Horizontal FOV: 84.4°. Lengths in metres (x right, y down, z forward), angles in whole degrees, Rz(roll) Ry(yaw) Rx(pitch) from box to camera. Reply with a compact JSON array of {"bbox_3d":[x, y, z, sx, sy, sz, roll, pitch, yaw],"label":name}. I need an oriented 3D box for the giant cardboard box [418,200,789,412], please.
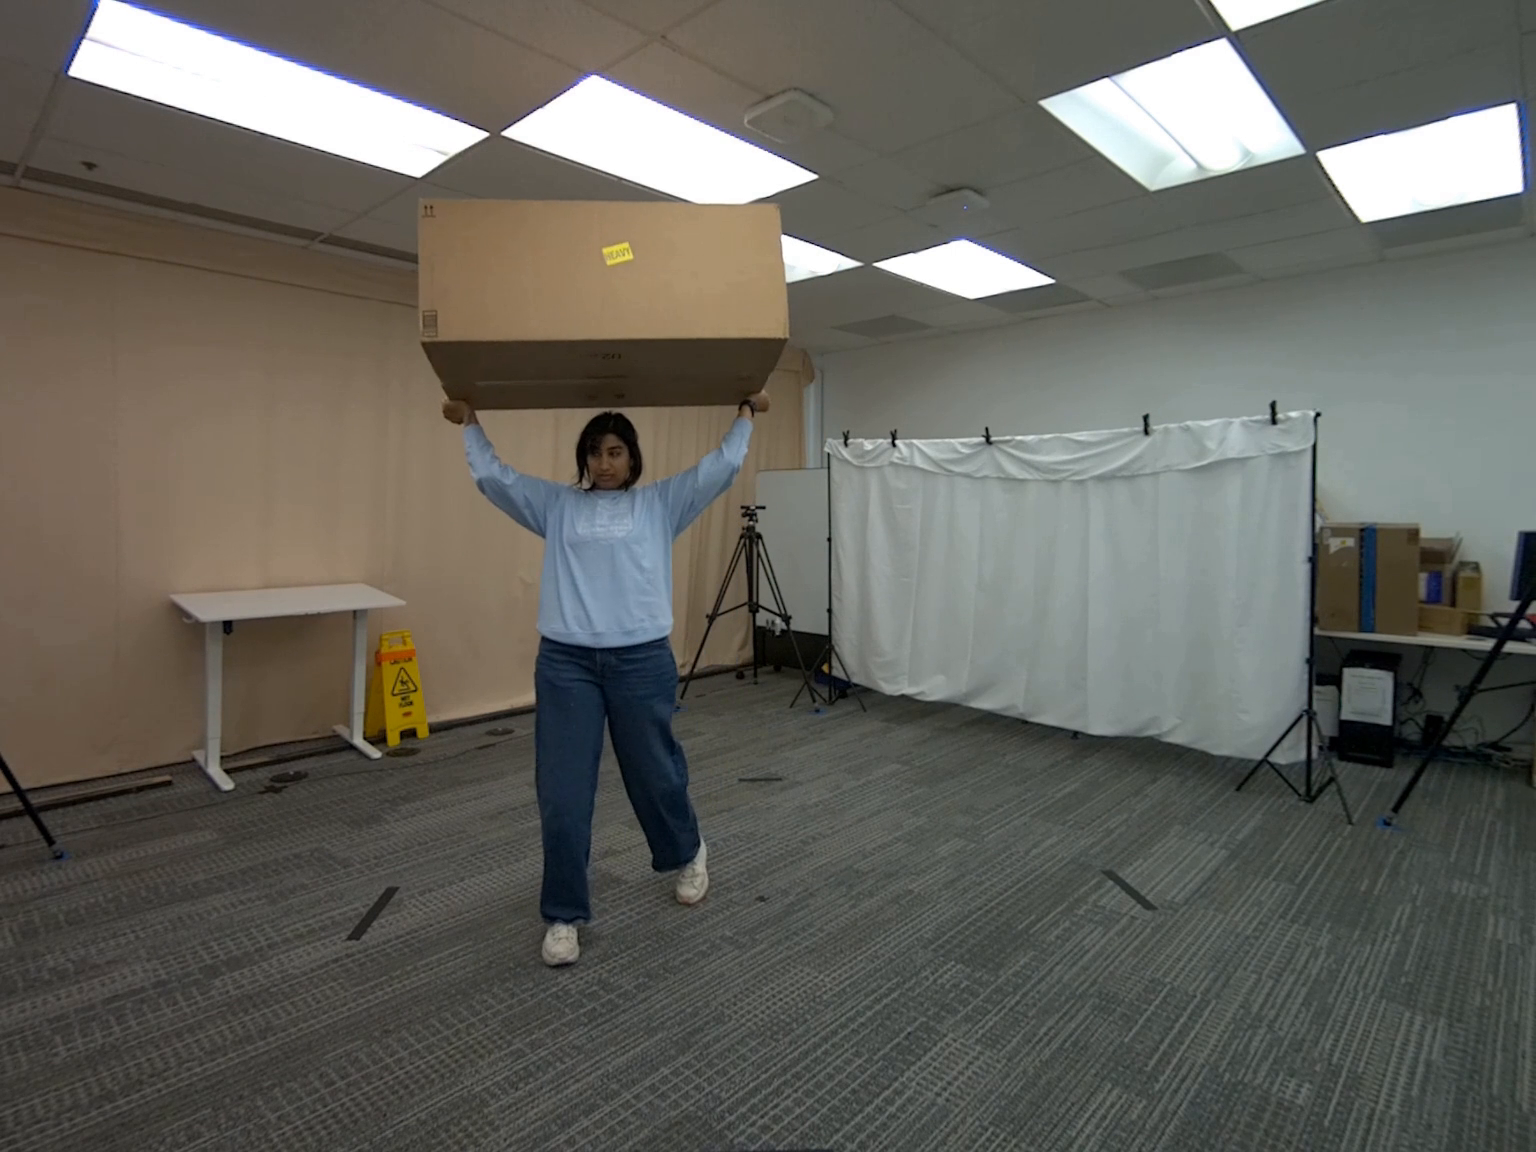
[{"bbox_3d":[-0.501,-0.824,2.633,1.017,0.429,0.579,-1,-8,-9],"label":"giant cardboard box"}]
